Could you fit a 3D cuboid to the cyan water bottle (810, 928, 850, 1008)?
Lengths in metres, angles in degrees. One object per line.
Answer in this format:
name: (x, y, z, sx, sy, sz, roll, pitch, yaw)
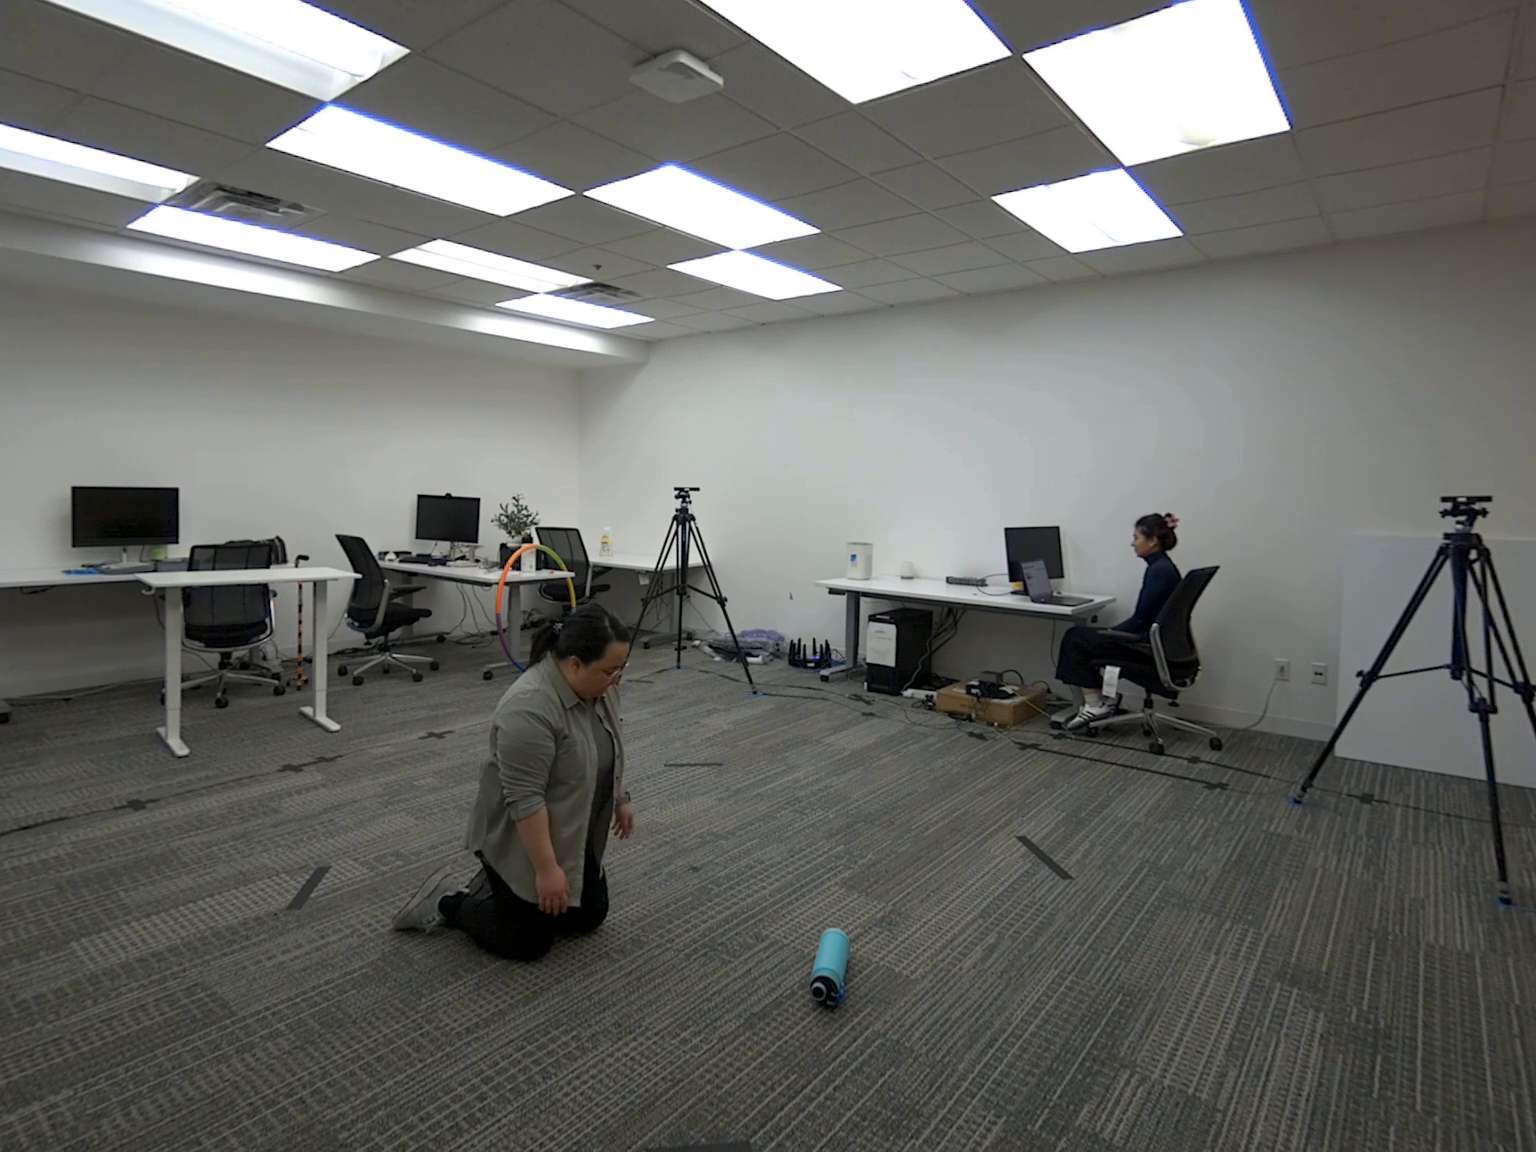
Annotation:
cyan water bottle: (0.168, 1.102, 2.390, 0.093, 0.092, 0.281, 2, 5, 10)
